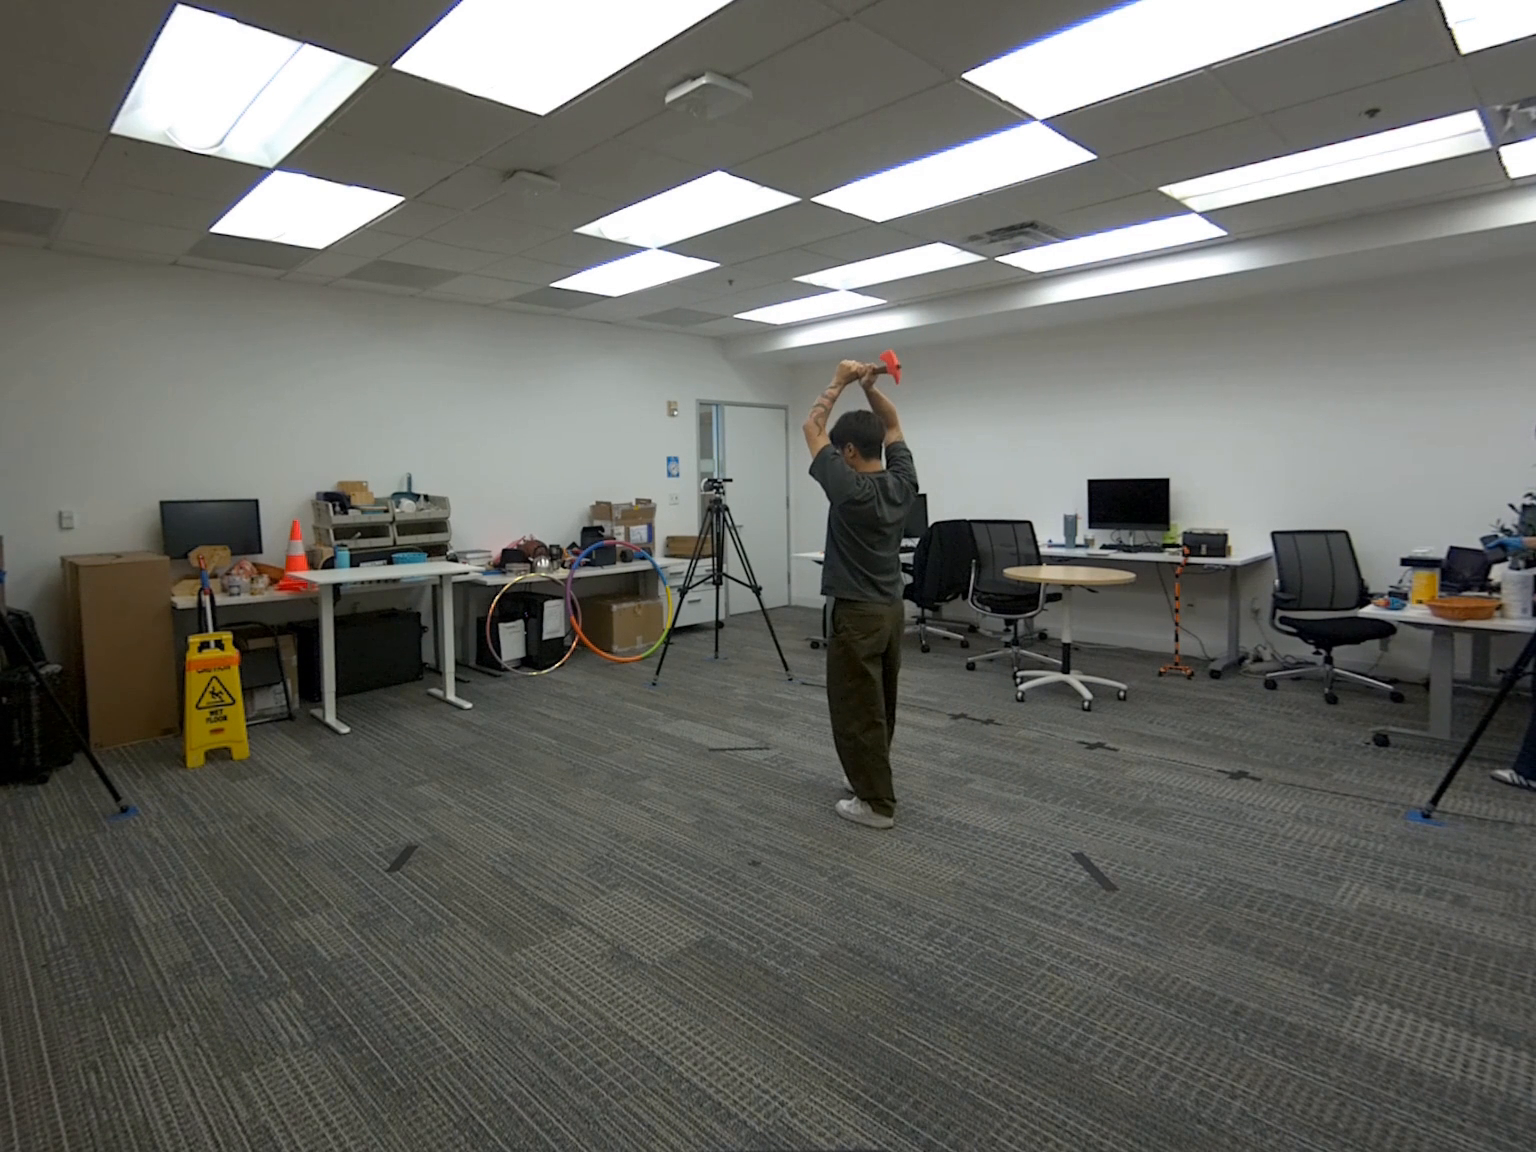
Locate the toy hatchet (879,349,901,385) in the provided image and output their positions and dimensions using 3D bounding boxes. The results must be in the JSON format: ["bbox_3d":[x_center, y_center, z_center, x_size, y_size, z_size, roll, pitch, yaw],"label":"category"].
[{"bbox_3d":[0.414,-0.835,3.330,0.280,0.128,0.029,24,39,38],"label":"toy hatchet"}]
